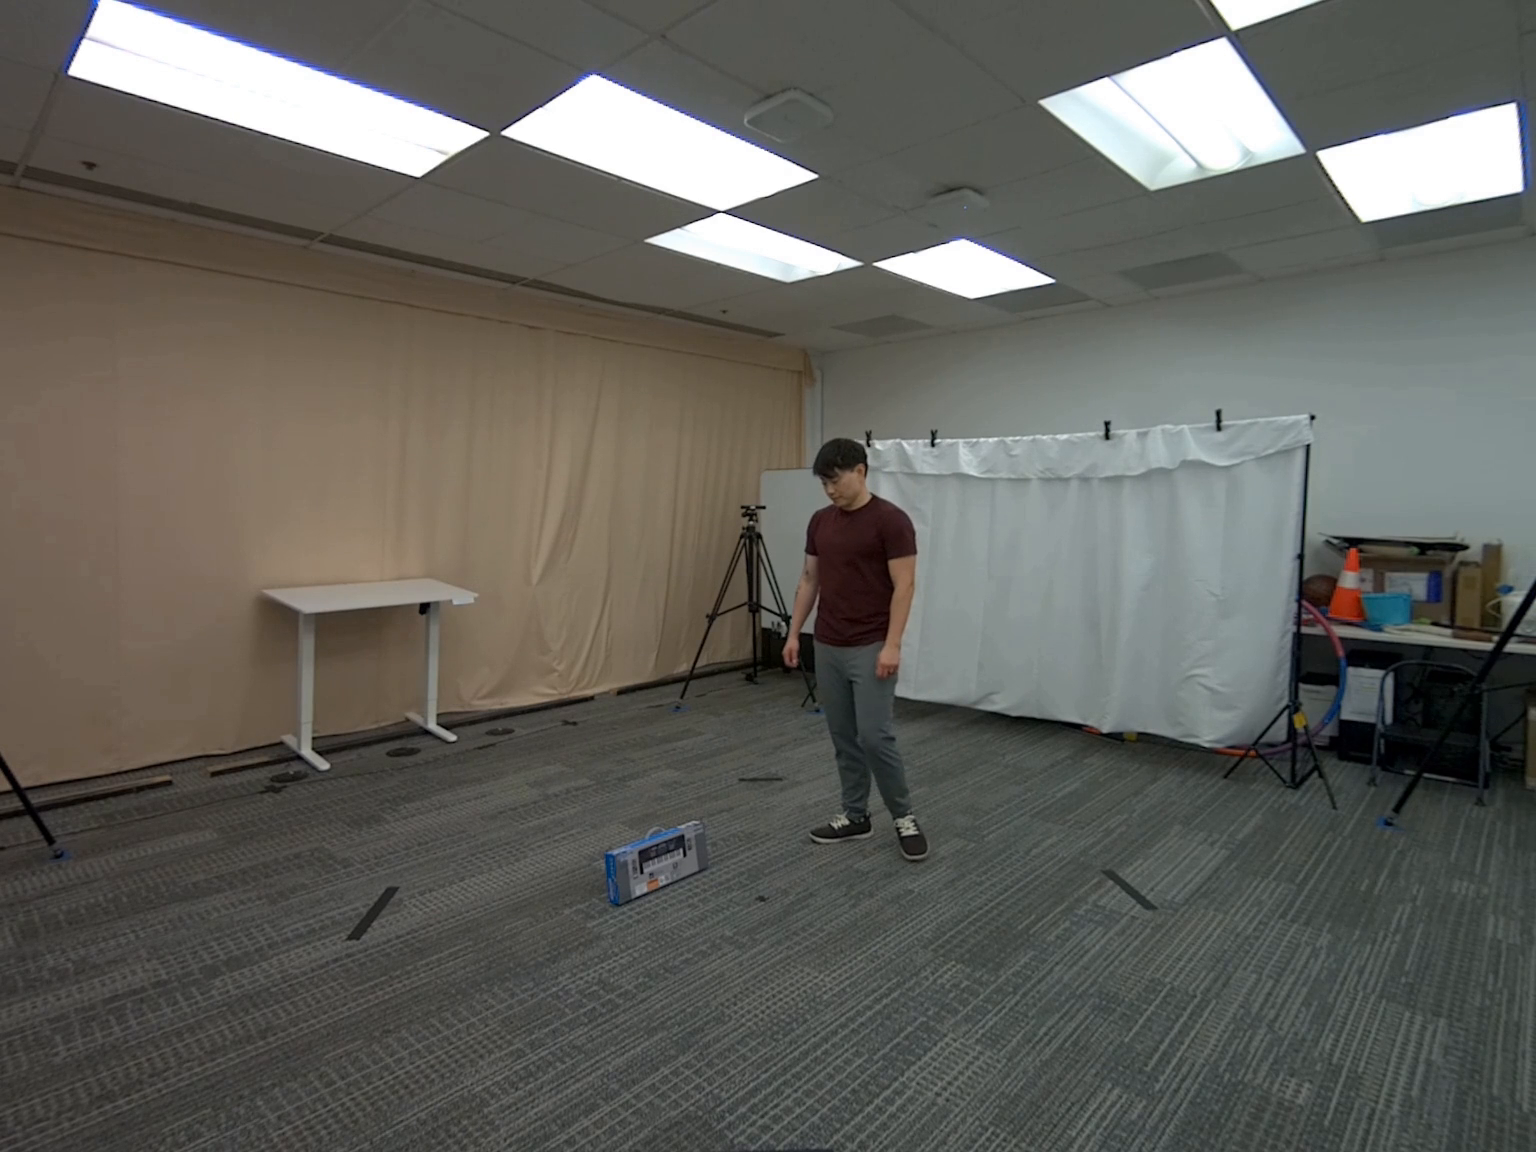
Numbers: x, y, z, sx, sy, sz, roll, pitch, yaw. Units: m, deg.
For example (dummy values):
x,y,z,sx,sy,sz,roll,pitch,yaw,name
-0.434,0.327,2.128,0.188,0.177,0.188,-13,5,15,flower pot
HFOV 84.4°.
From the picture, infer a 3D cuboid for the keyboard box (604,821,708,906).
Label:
x,y,z,sx,sy,sz,roll,pitch,yaw,name
-0.402,1.051,3.100,0.061,0.176,0.423,-10,-3,44,keyboard box
